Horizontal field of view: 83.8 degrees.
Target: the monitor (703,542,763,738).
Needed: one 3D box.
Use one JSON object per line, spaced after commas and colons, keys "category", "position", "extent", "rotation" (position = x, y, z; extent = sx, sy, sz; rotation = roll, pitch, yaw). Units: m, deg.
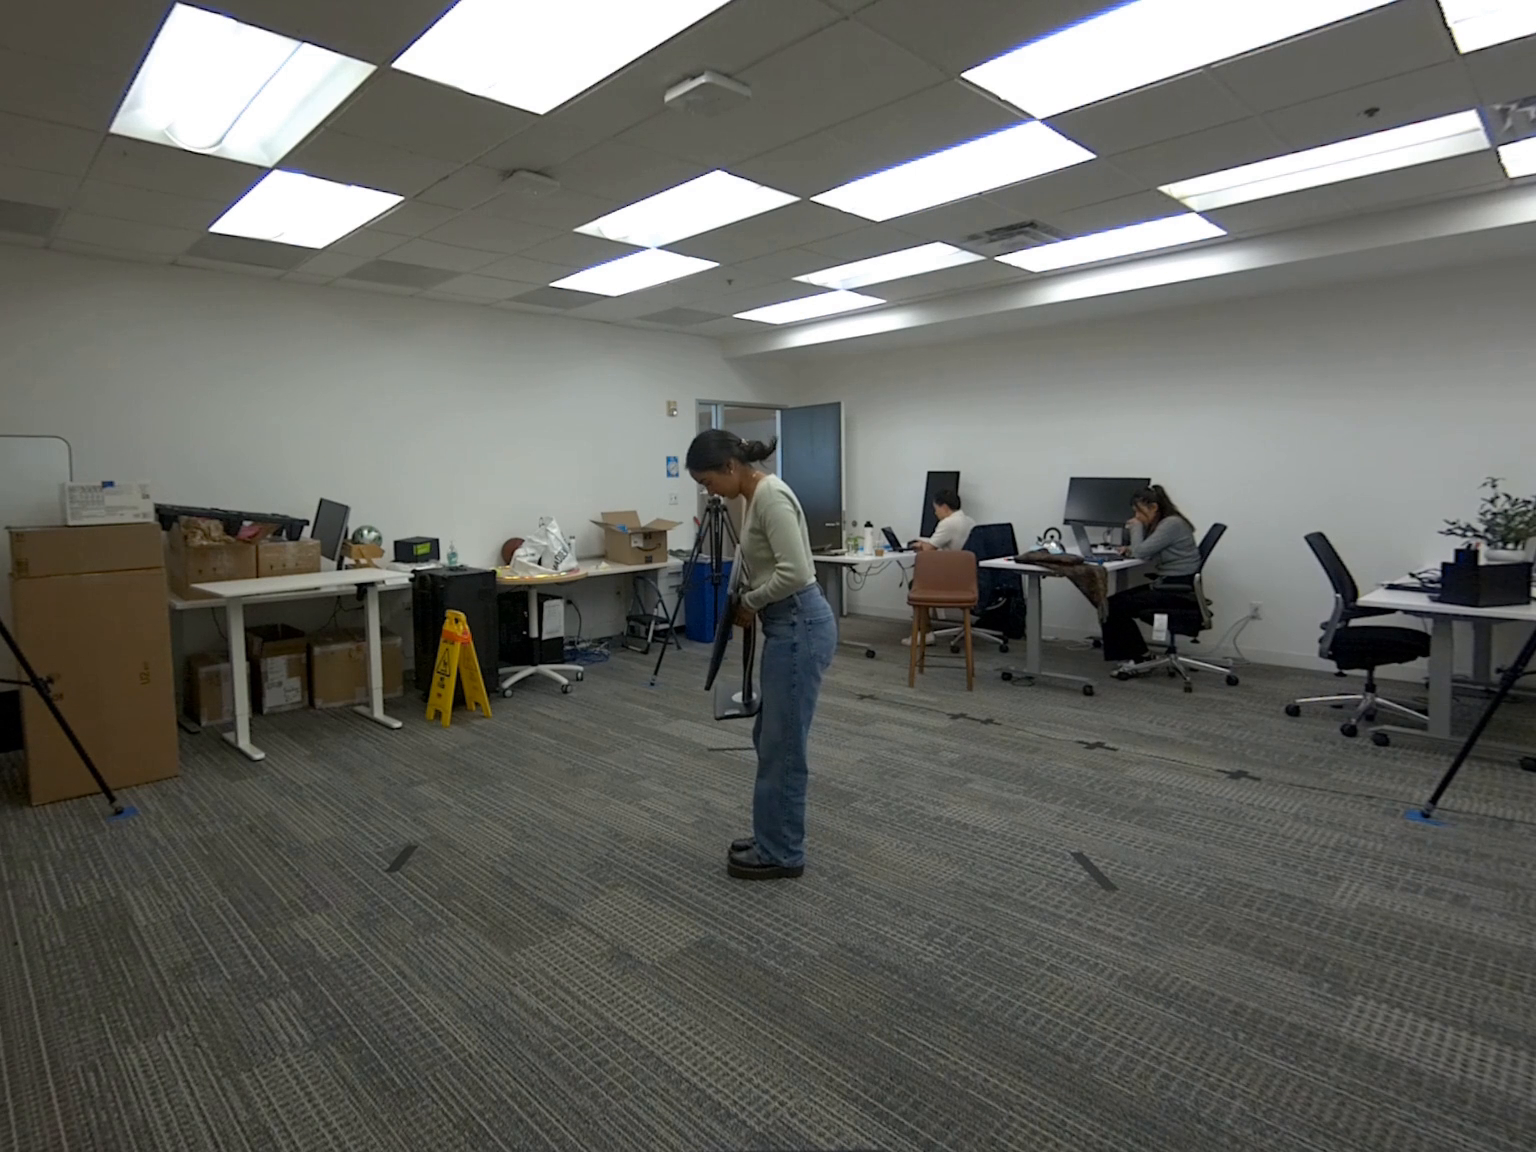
{"category": "monitor", "position": [-0.110, 0.203, 3.049], "extent": [0.175, 0.508, 0.538], "rotation": [-6, 16, -1]}
